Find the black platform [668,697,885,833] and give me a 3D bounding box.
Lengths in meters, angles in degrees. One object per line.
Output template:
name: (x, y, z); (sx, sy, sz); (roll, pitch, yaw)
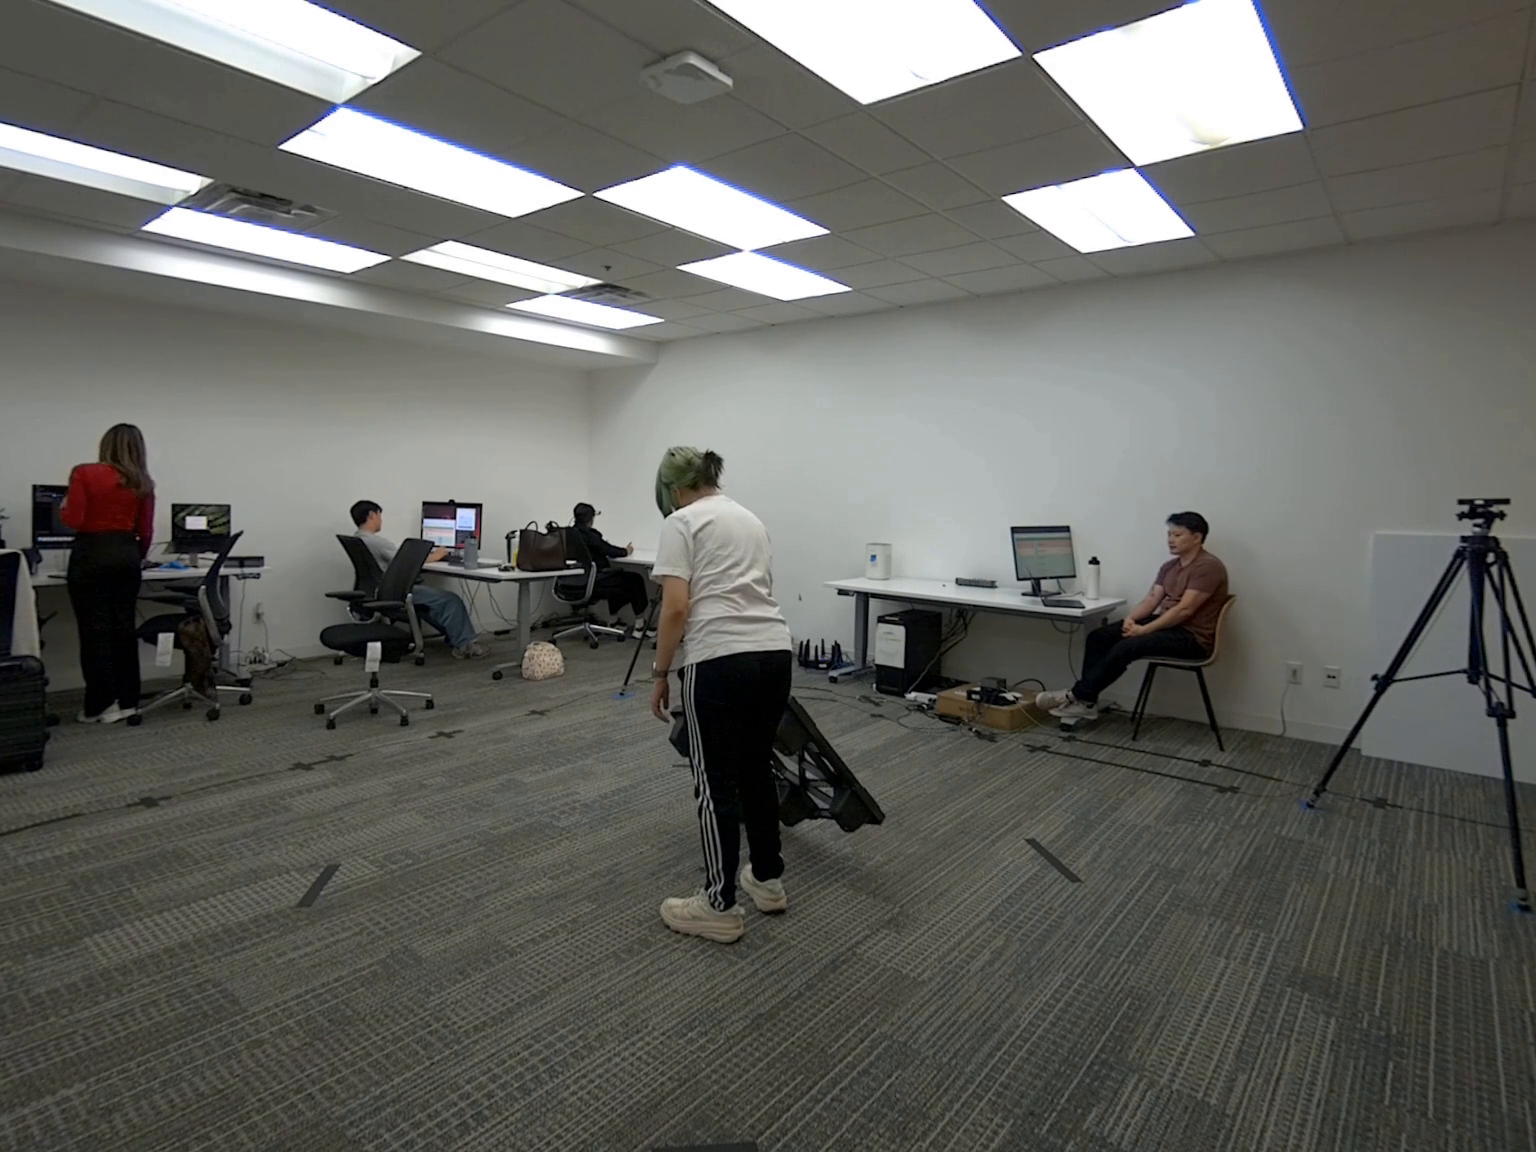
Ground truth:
black platform: (-0.030, 0.742, 3.267); (0.143, 0.595, 0.821); (-44, 16, -35)
